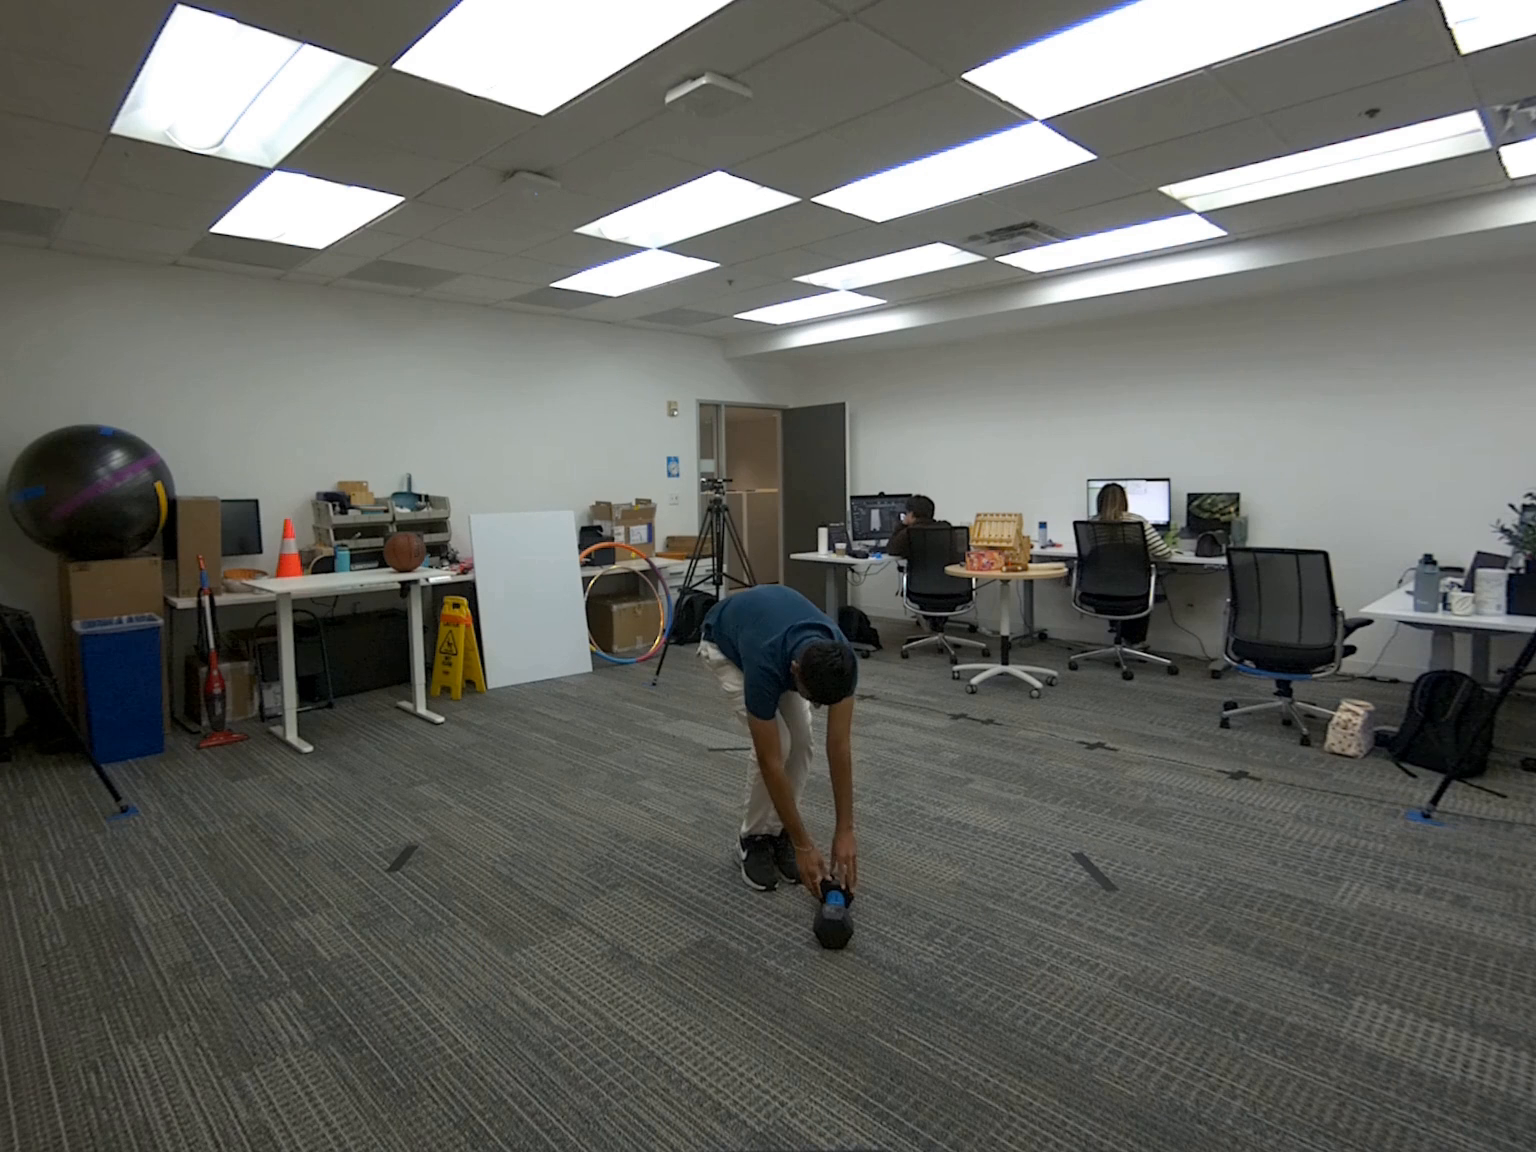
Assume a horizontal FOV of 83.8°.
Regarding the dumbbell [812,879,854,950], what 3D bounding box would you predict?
[{"bbox_3d":[0.221,1.038,2.657,0.124,0.108,0.291,1,5,9],"label":"dumbbell"}]
